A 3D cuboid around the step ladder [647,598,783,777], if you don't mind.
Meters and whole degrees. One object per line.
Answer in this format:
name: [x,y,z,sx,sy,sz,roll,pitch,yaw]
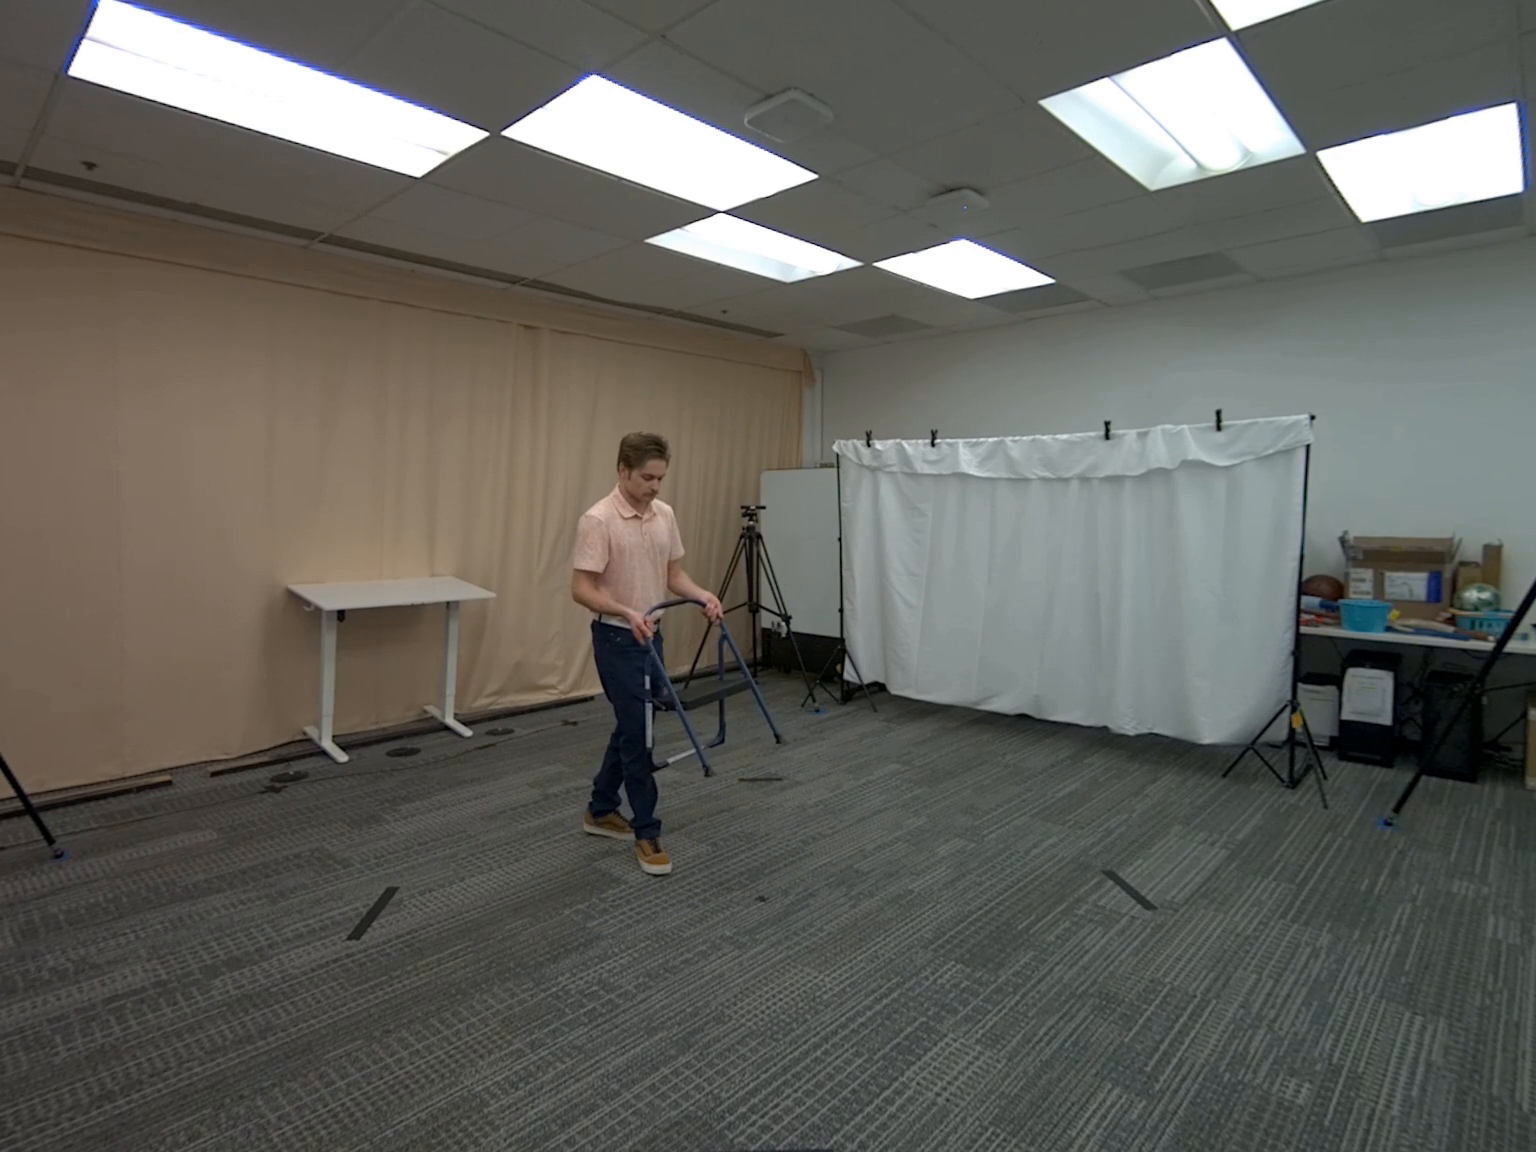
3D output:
step ladder: [-0.248,0.385,3.149,0.359,0.607,0.418,-12,-1,41]
